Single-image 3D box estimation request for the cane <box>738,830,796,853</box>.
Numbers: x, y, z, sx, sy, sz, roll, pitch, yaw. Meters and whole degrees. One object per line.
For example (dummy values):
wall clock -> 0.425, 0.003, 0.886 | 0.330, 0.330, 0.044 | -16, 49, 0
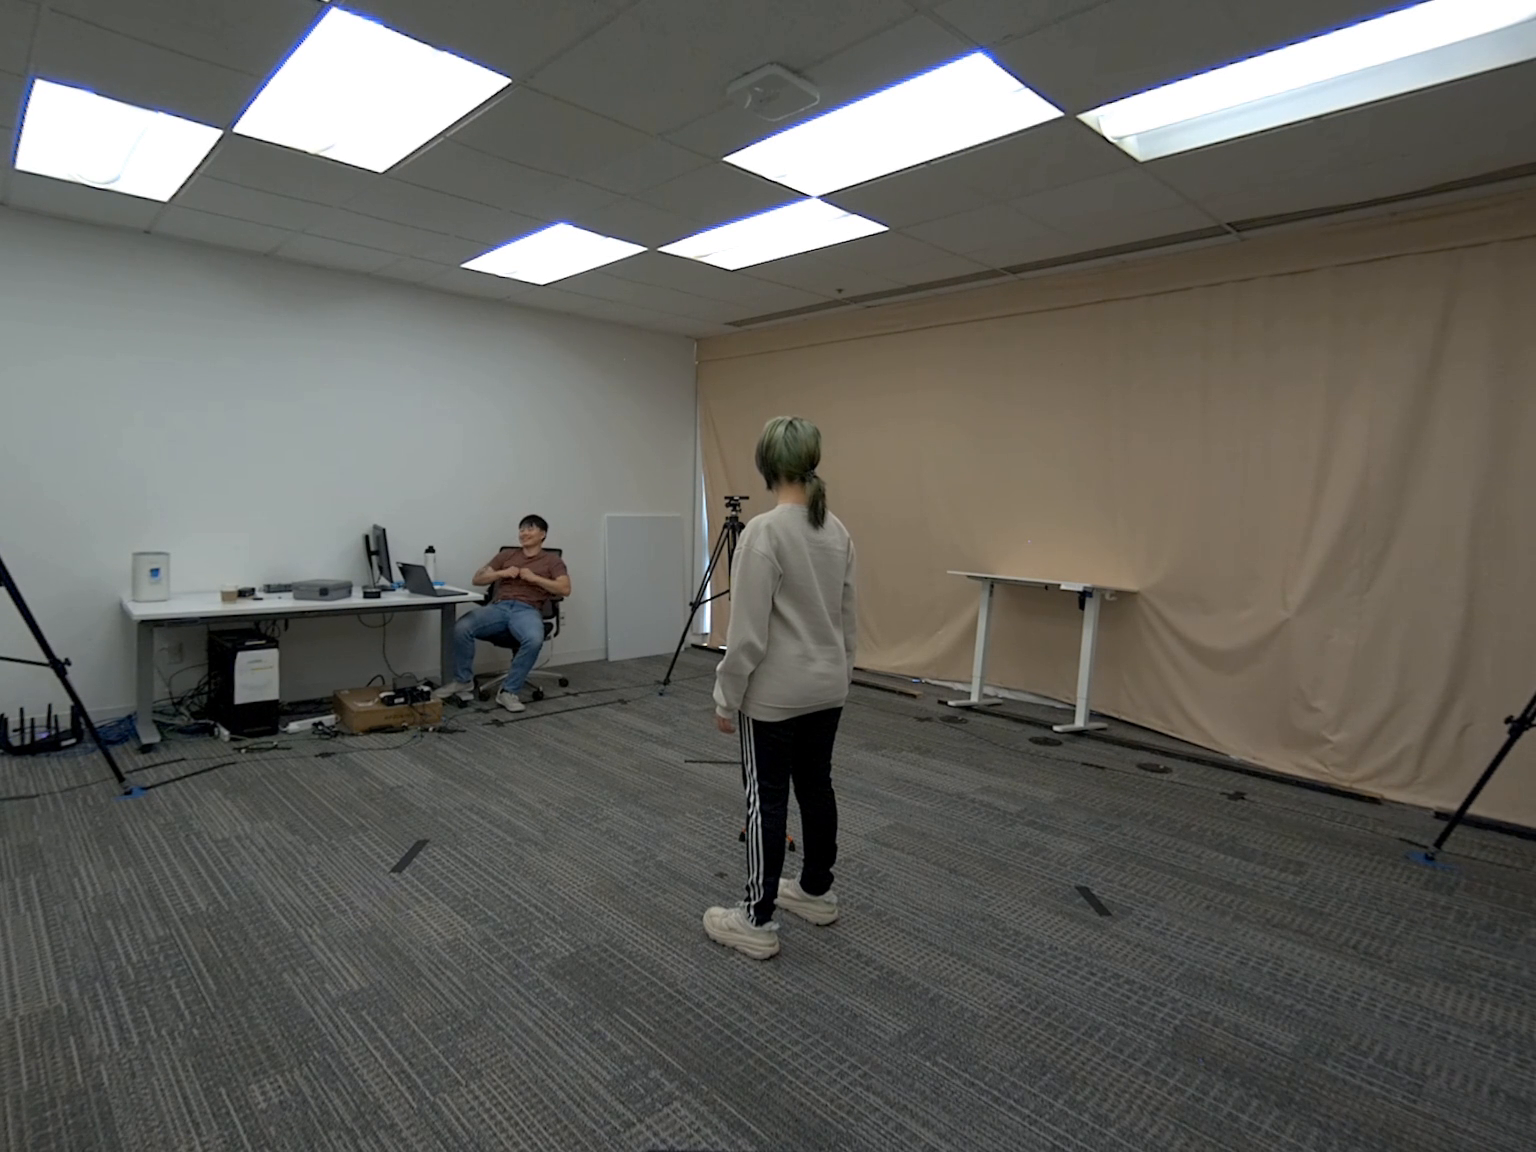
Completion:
cane -> 0.003, 0.631, 3.361 | 0.148, 0.906, 0.211 | 0, 3, -33
